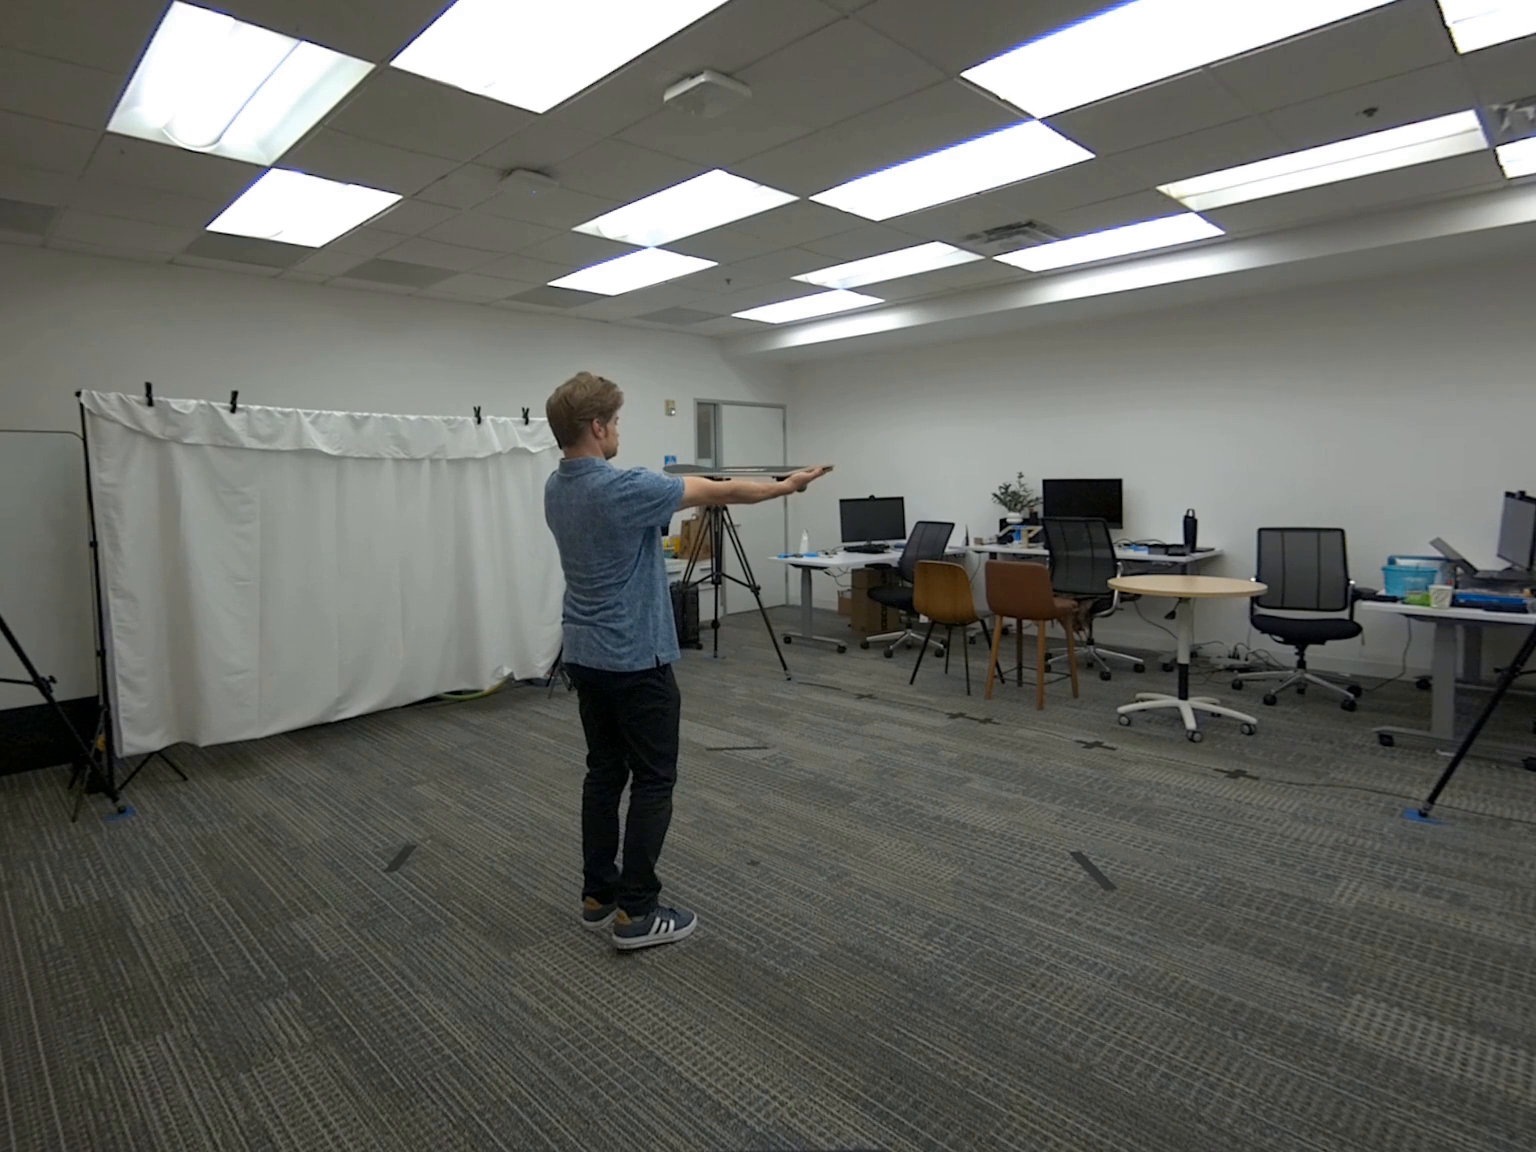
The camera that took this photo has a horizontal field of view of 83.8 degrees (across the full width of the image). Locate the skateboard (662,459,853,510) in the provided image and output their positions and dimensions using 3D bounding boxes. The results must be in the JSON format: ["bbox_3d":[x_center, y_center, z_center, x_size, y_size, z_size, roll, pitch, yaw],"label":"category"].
[{"bbox_3d":[-0.081,-0.336,3.088,0.810,0.108,0.191,7,26,44],"label":"skateboard"}]
